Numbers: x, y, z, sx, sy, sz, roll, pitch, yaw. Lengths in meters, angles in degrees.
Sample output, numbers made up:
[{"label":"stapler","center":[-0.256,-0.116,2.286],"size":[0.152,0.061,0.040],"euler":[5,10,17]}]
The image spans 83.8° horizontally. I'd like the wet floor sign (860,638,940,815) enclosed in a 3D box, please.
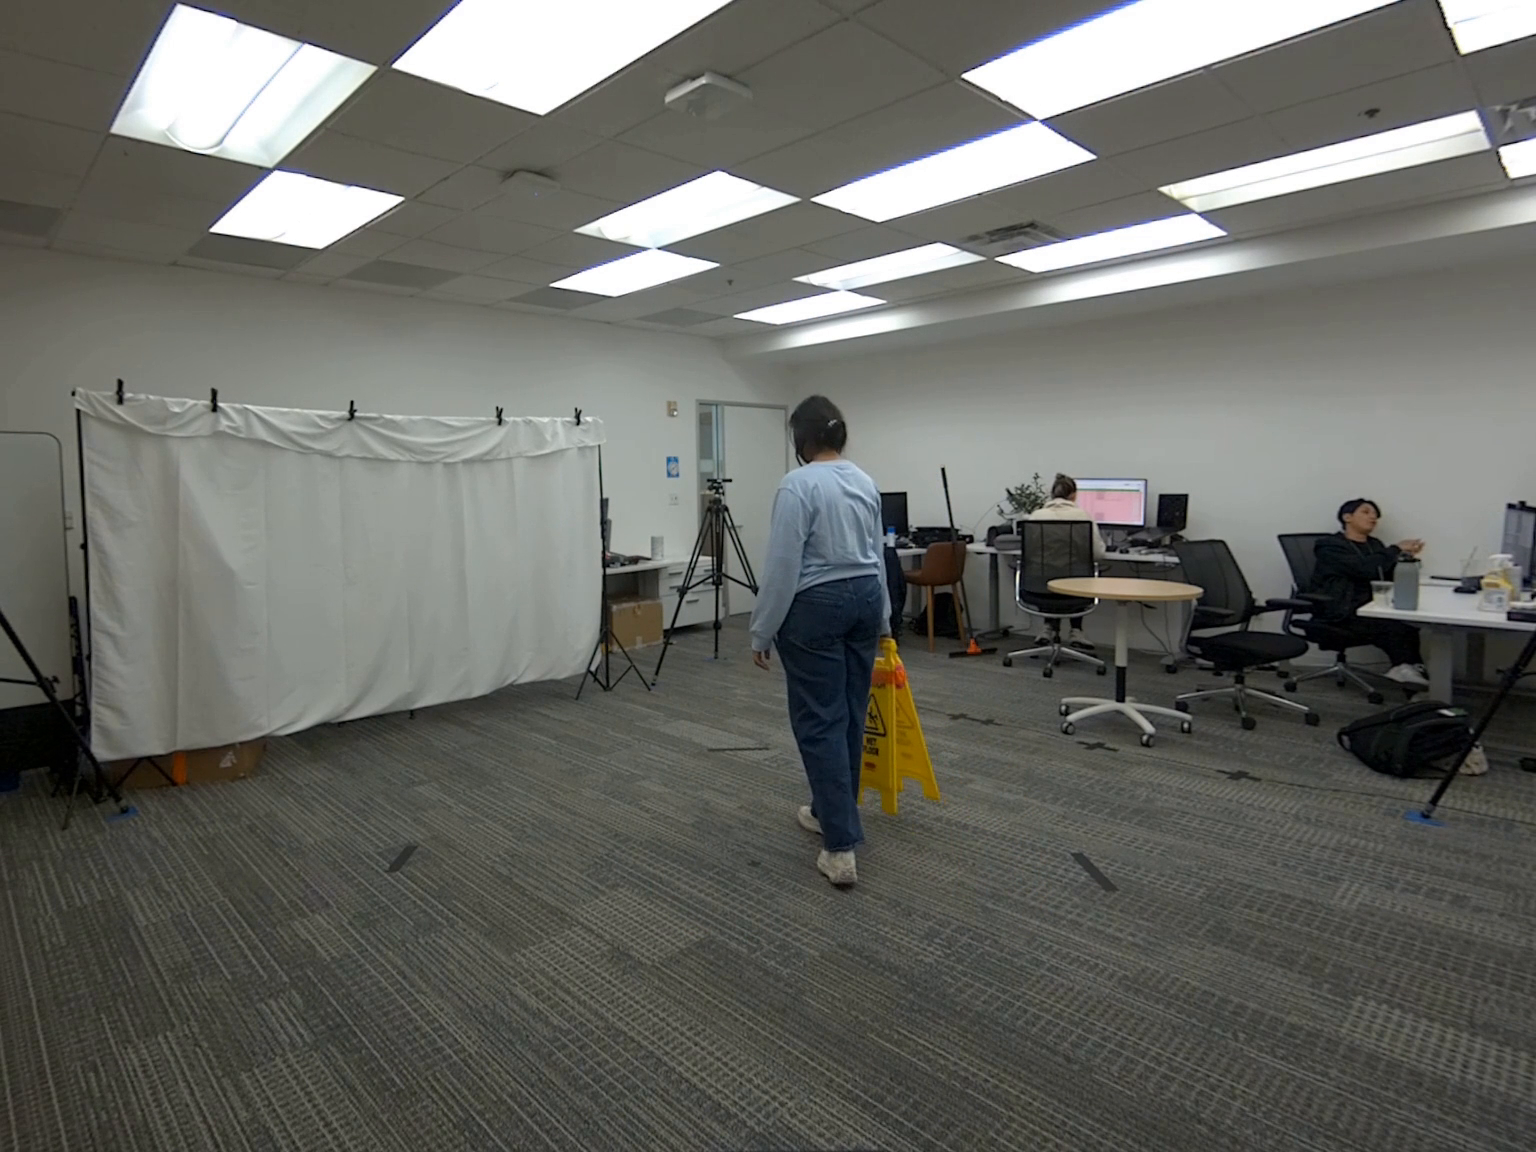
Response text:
[{"label":"wet floor sign","center":[0.473,0.579,3.431],"size":[0.283,0.647,0.289],"euler":[-4,-1,-32]}]
